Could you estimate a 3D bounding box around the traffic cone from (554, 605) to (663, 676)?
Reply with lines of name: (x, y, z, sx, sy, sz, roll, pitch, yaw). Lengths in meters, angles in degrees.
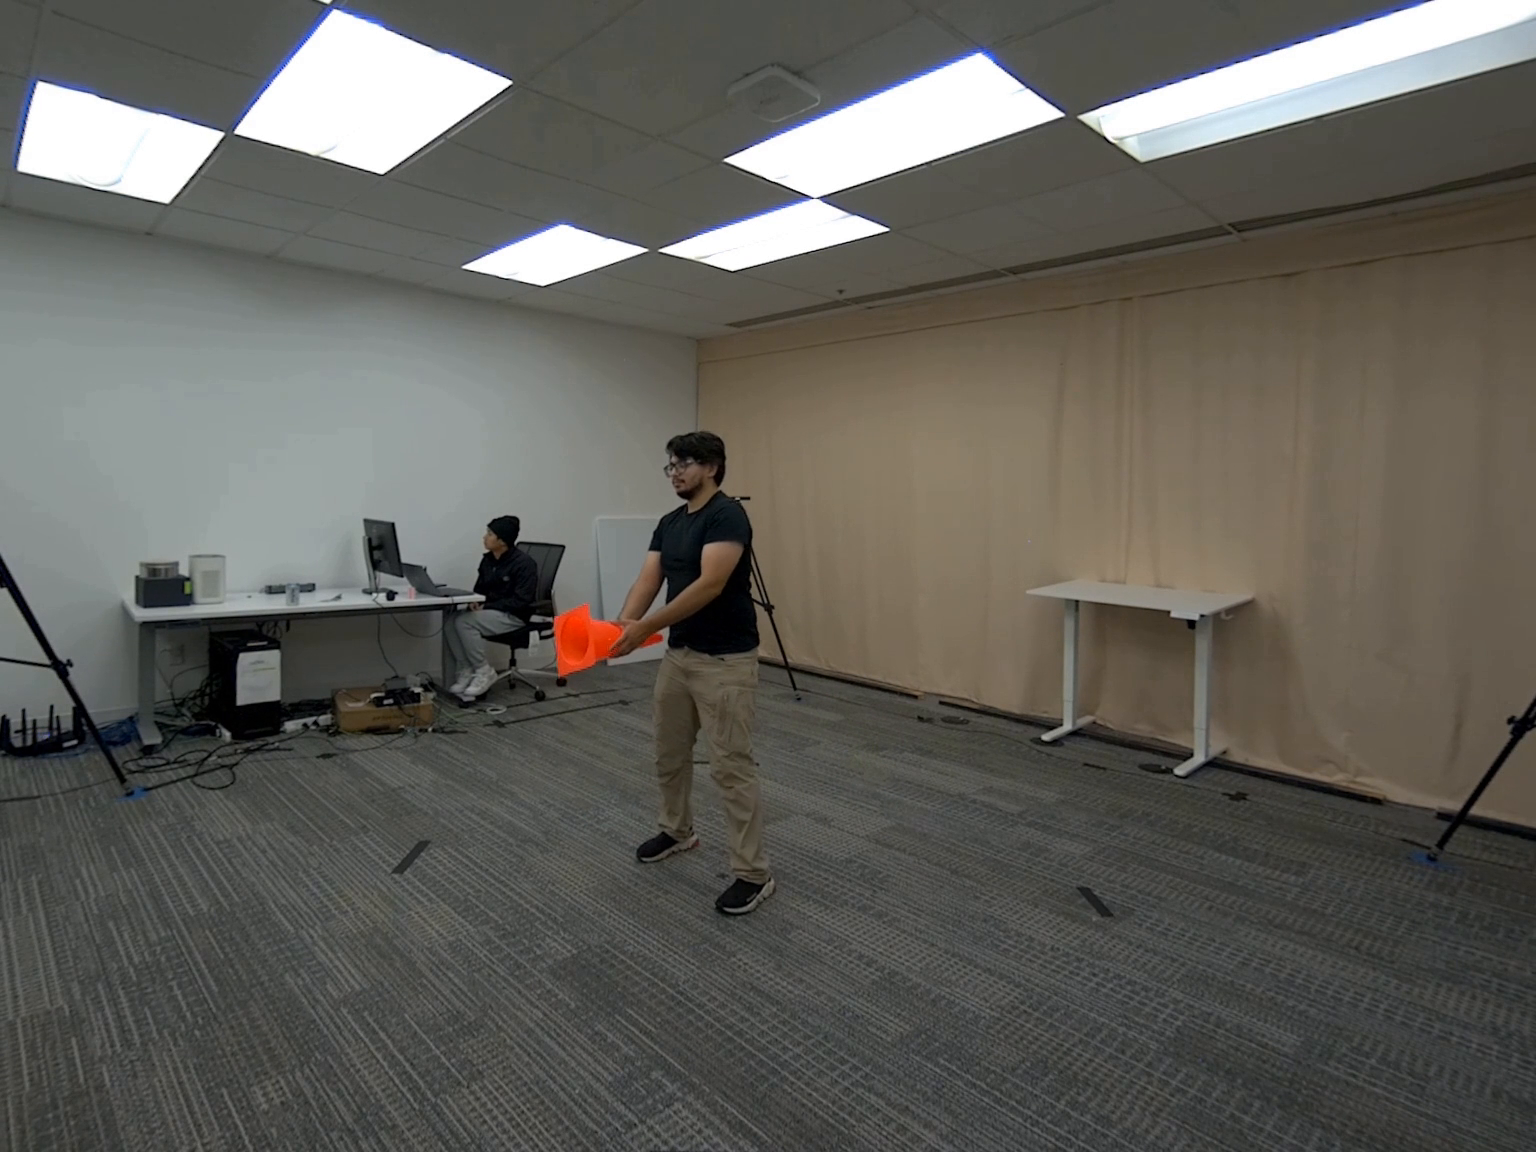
traffic cone: (-0.509, 0.212, 2.848, 0.207, 0.206, 0.374, -24, -17, 39)
